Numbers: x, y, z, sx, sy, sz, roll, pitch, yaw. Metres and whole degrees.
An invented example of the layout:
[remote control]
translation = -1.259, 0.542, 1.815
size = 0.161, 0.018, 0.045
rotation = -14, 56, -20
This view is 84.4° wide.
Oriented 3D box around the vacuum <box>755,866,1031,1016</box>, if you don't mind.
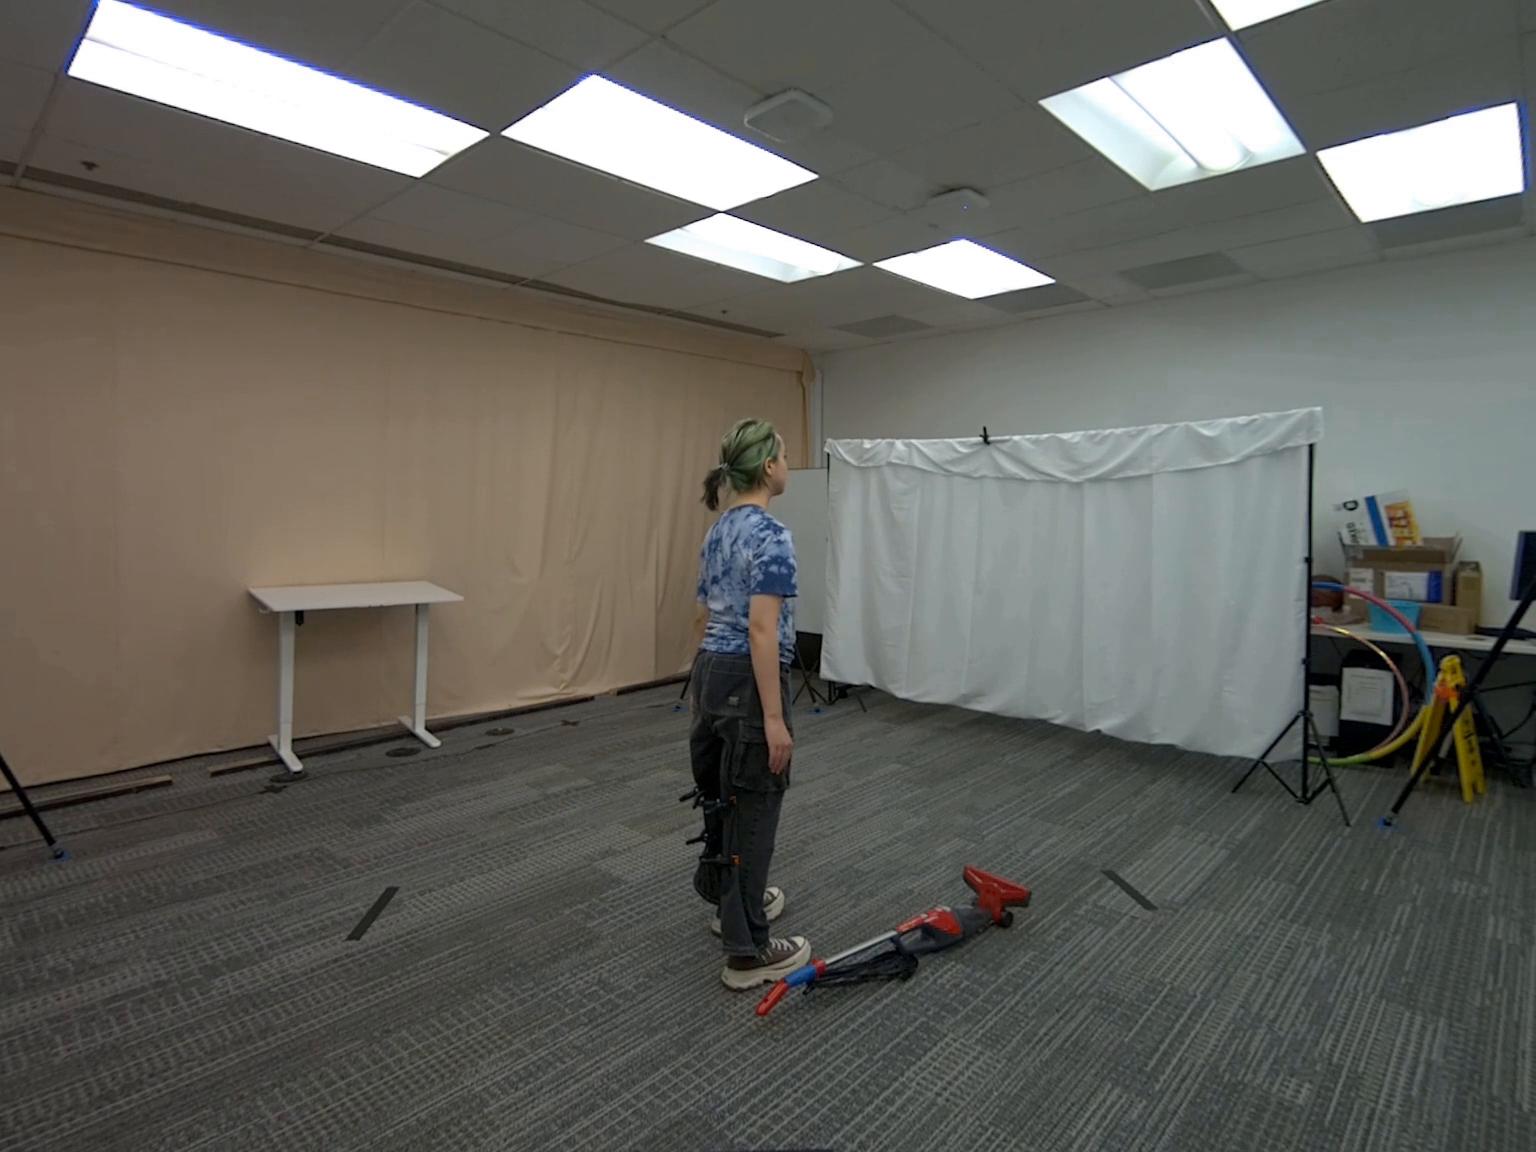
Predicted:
[vacuum]
translation = 0.383, 1.121, 2.523
size = 1.019, 0.144, 0.260
rotation = -6, 4, -38
